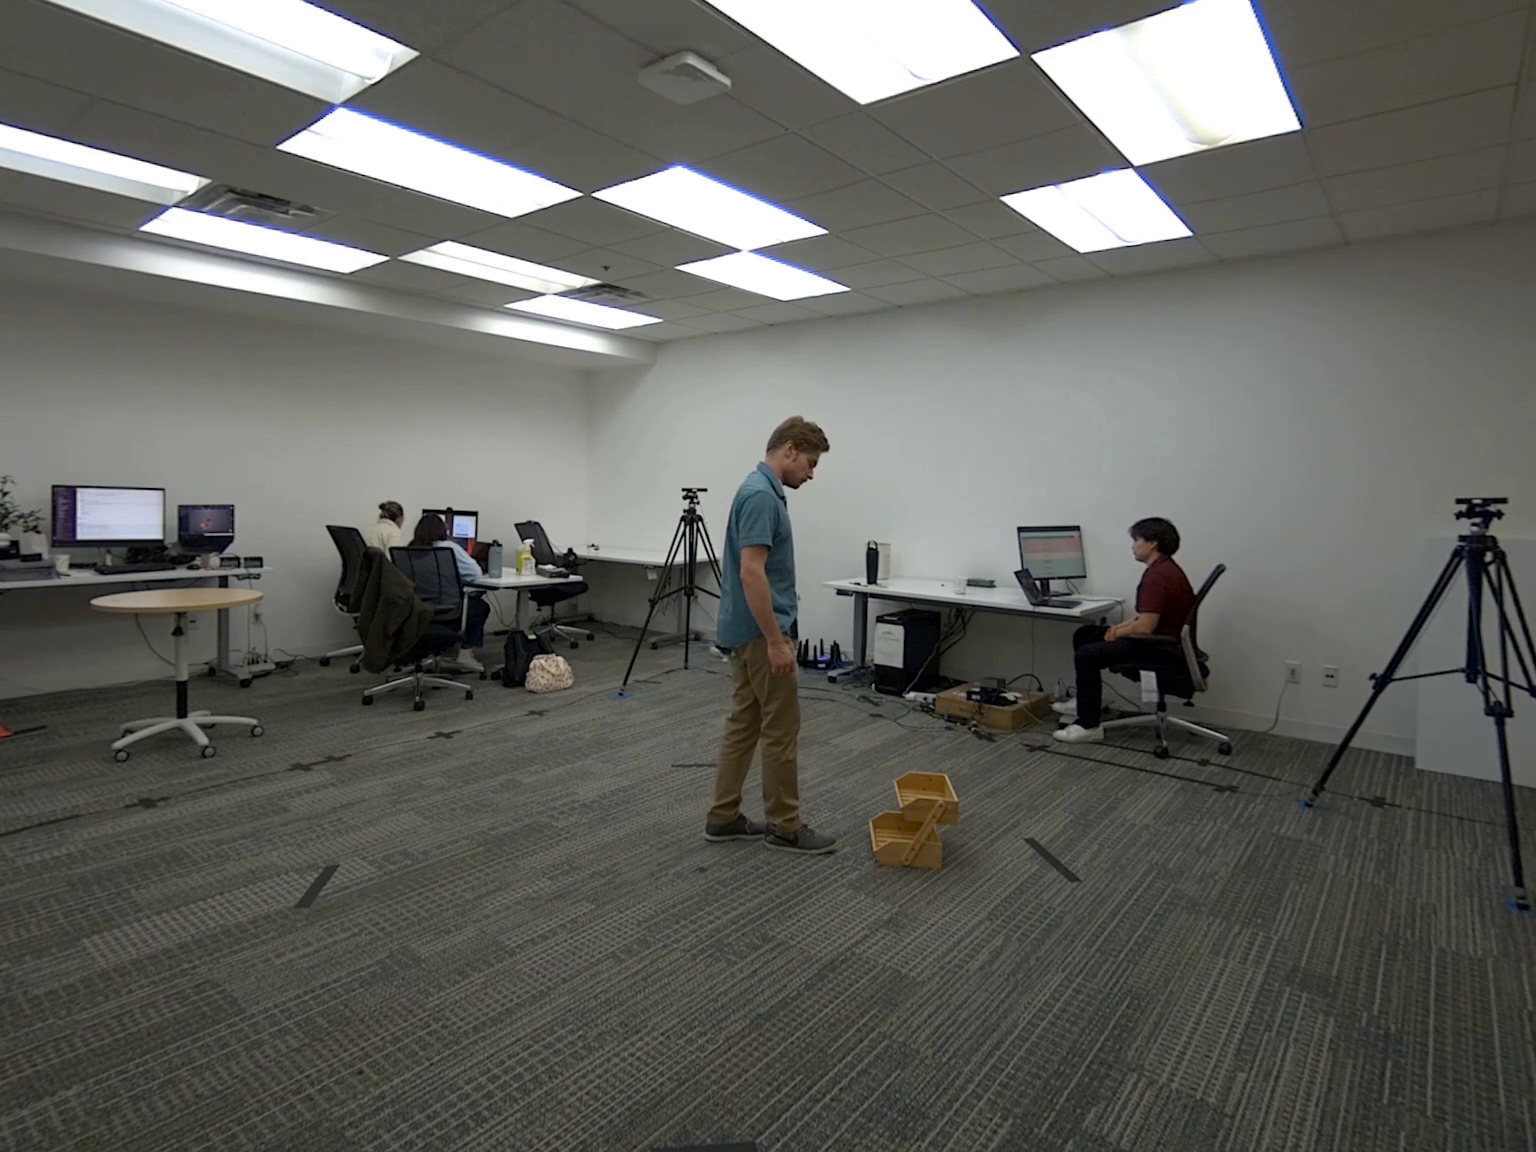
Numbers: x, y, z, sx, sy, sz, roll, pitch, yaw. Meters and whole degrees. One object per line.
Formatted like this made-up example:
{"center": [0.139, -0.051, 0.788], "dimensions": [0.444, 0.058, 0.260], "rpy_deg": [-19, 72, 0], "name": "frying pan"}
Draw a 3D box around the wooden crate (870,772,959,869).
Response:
{"center": [0.542, 0.928, 3.314], "dimensions": [0.304, 0.272, 0.324], "rpy_deg": [4, 5, 4], "name": "wooden crate"}
